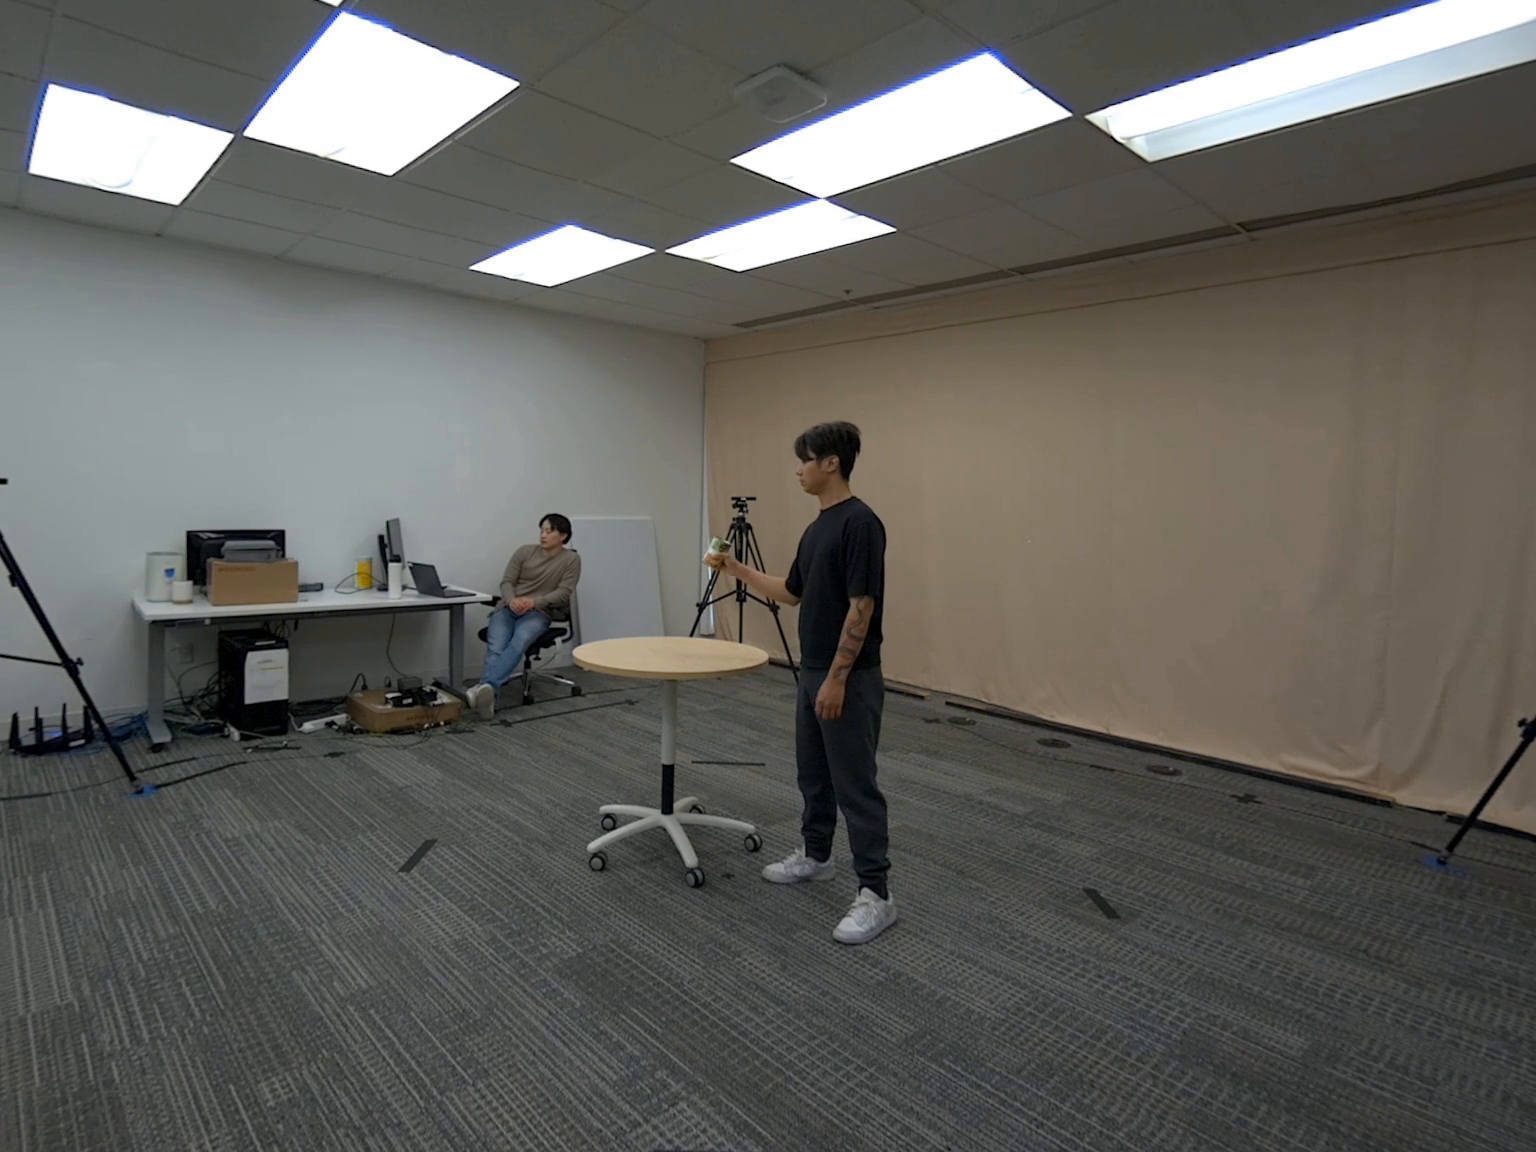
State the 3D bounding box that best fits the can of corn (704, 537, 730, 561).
[{"bbox_3d":[-0.202,-0.089,3.235,0.074,0.111,0.075,26,7,-5],"label":"can of corn"}]
